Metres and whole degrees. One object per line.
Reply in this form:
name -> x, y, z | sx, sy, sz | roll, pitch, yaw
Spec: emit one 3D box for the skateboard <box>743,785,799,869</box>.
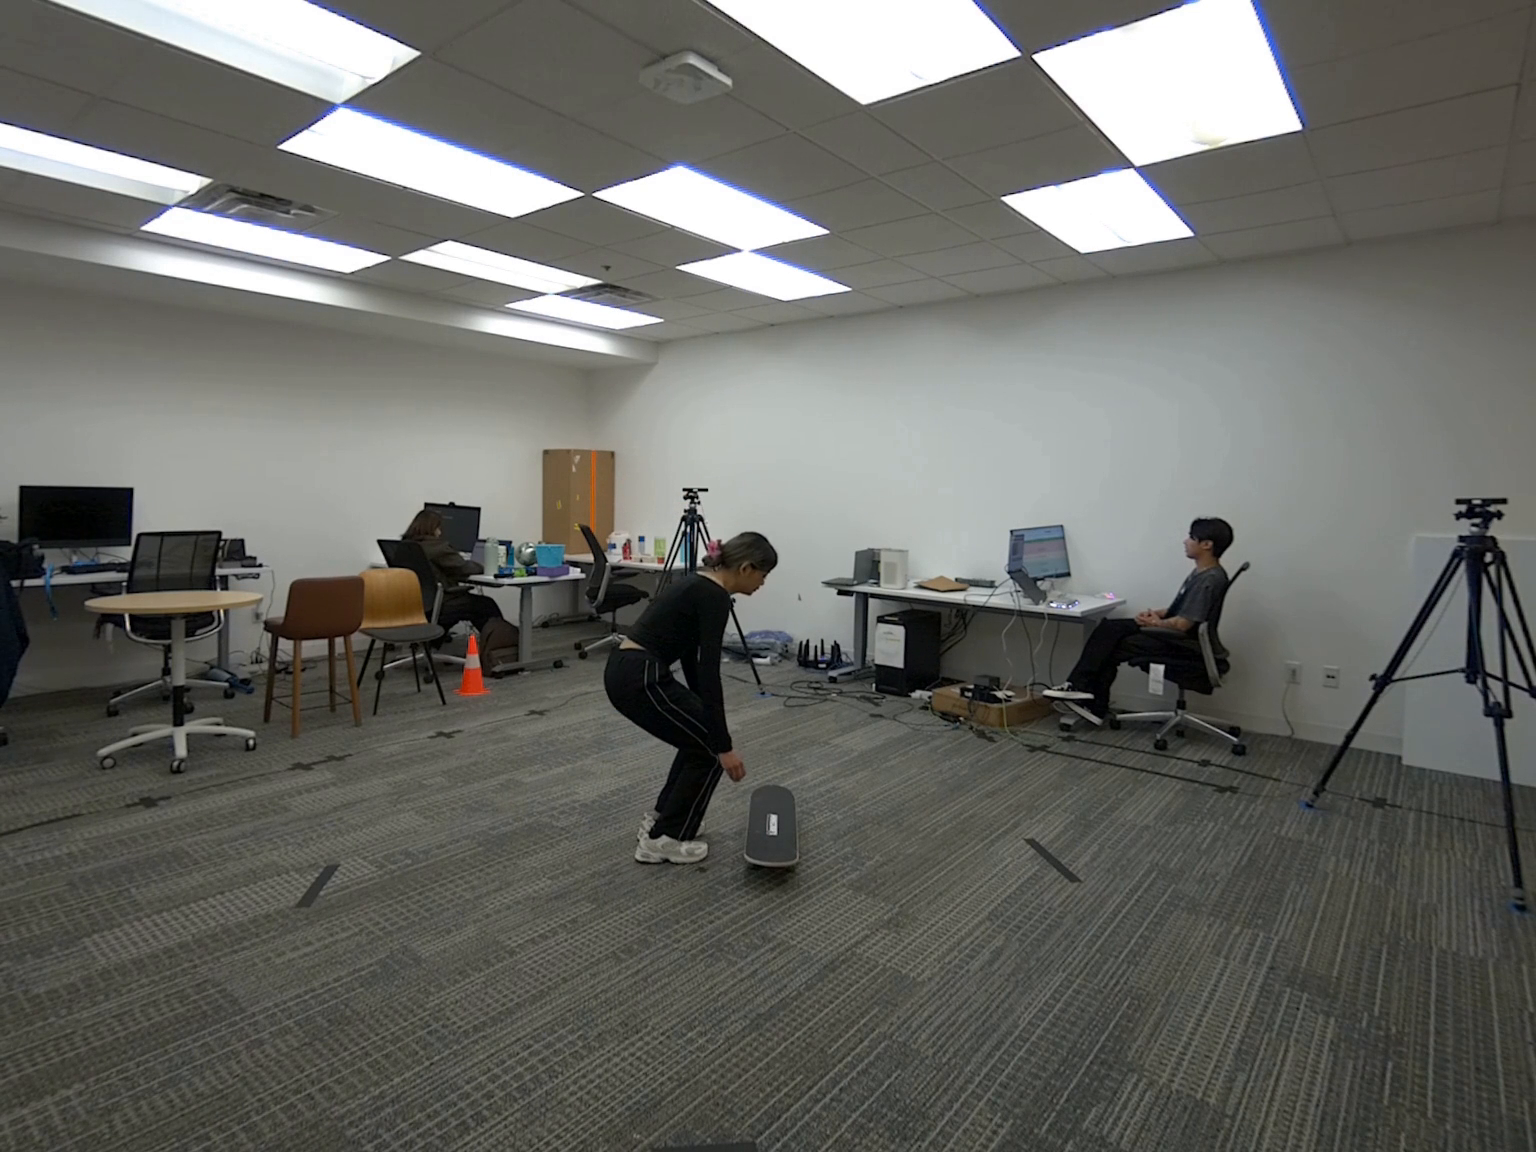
skateboard -> 0.006, 0.991, 3.313 | 0.194, 0.110, 0.786 | 1, 6, 1
